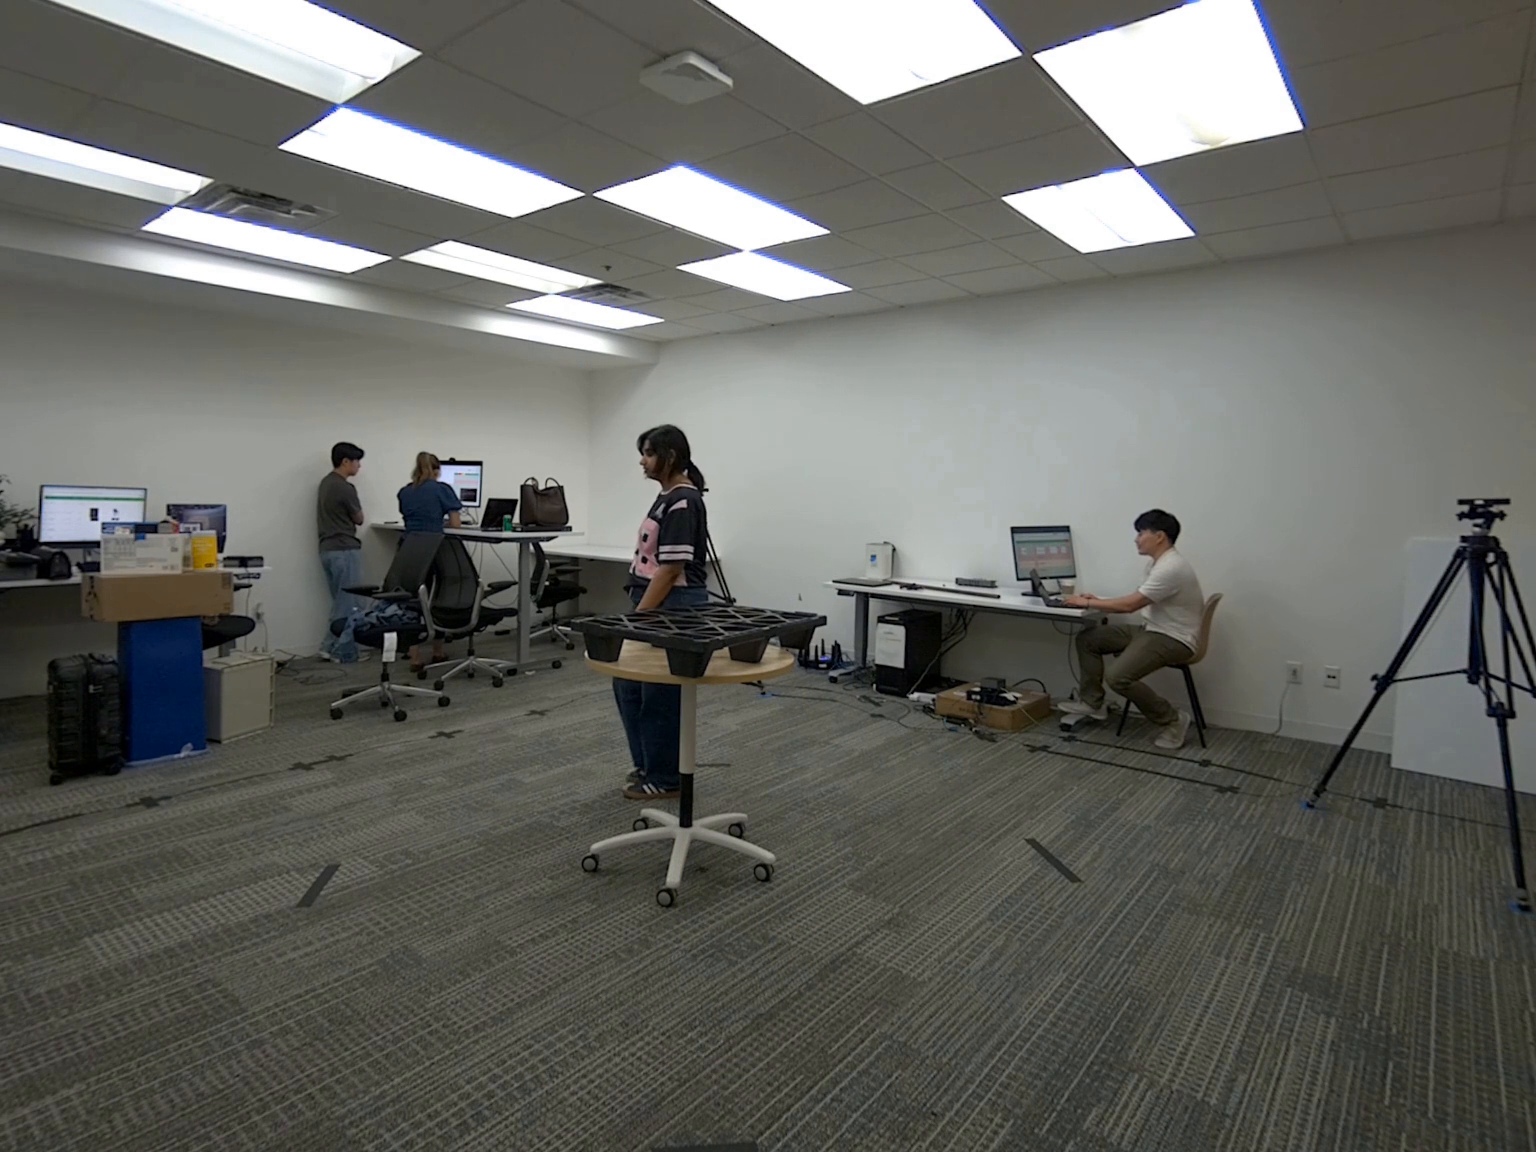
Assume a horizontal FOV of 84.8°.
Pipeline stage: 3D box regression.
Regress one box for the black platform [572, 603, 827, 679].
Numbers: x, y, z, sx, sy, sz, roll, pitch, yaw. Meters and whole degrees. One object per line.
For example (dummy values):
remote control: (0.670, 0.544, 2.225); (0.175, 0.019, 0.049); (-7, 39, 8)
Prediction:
black platform: (-0.231, 0.222, 3.129); (0.625, 0.143, 0.783); (5, 6, 34)
